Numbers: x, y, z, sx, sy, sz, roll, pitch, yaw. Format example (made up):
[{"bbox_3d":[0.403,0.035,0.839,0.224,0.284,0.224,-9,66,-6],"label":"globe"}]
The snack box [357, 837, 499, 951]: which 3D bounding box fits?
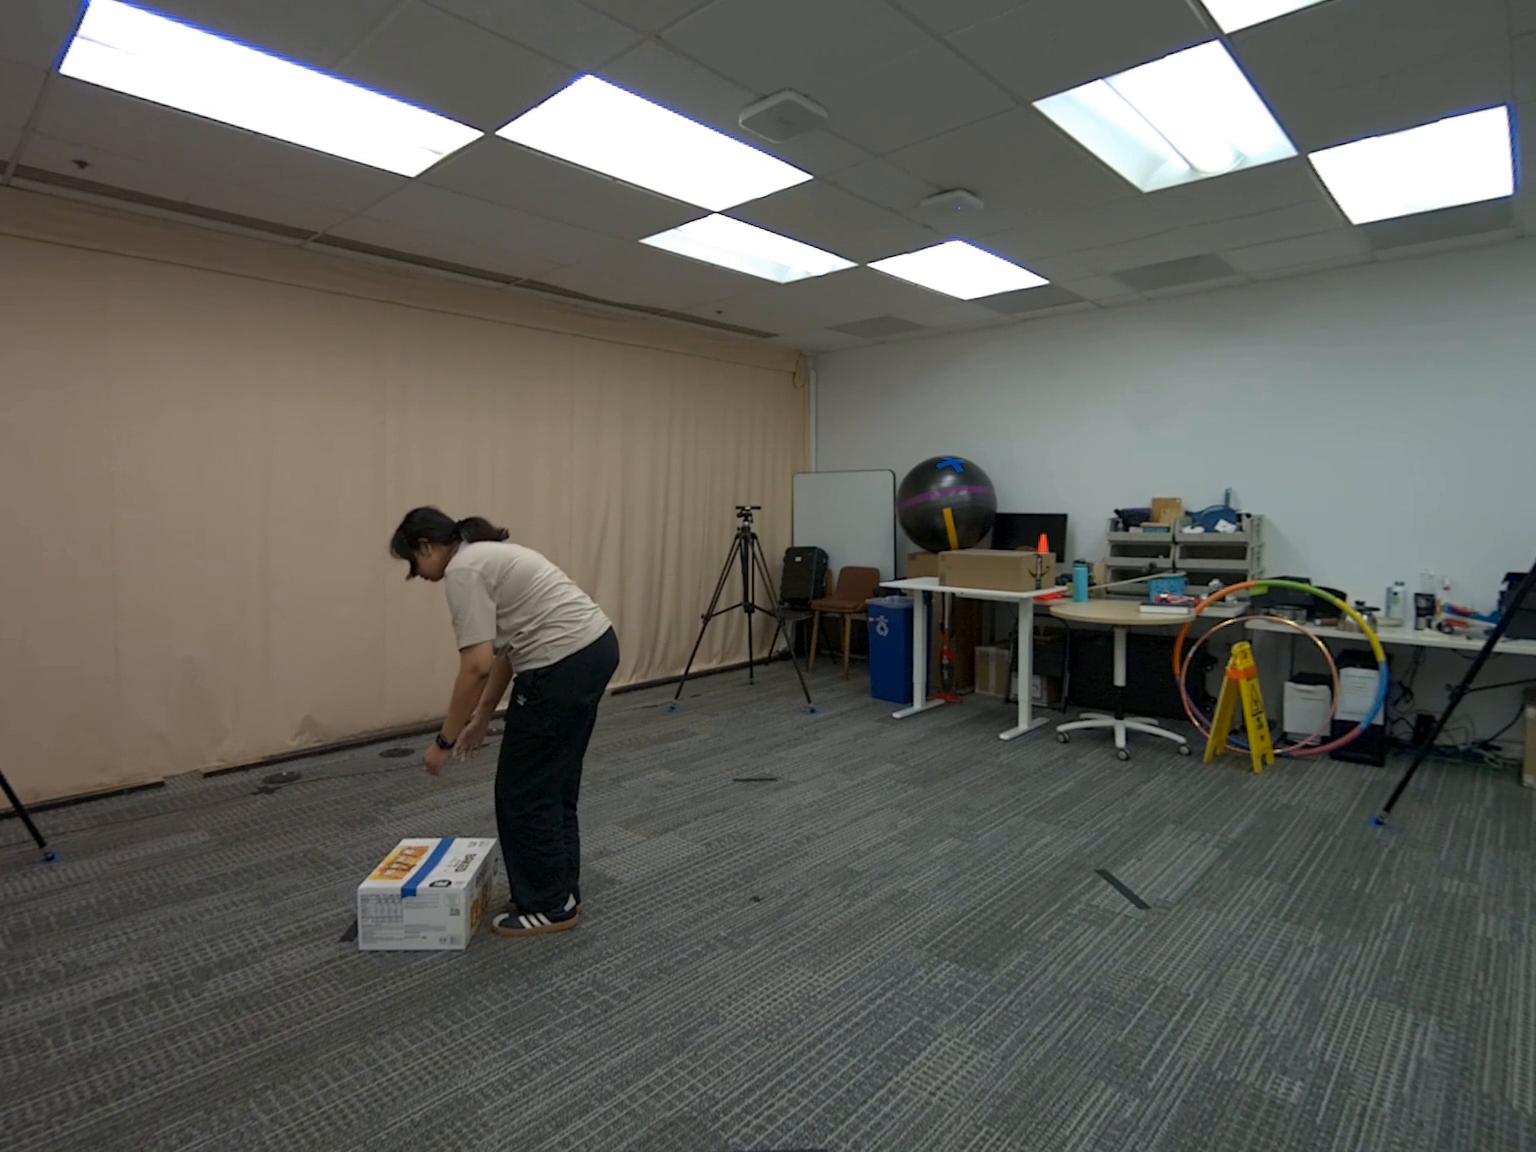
[{"bbox_3d":[-1.136,1.072,2.840,0.340,0.205,0.407,-1,4,-2],"label":"snack box"}]
